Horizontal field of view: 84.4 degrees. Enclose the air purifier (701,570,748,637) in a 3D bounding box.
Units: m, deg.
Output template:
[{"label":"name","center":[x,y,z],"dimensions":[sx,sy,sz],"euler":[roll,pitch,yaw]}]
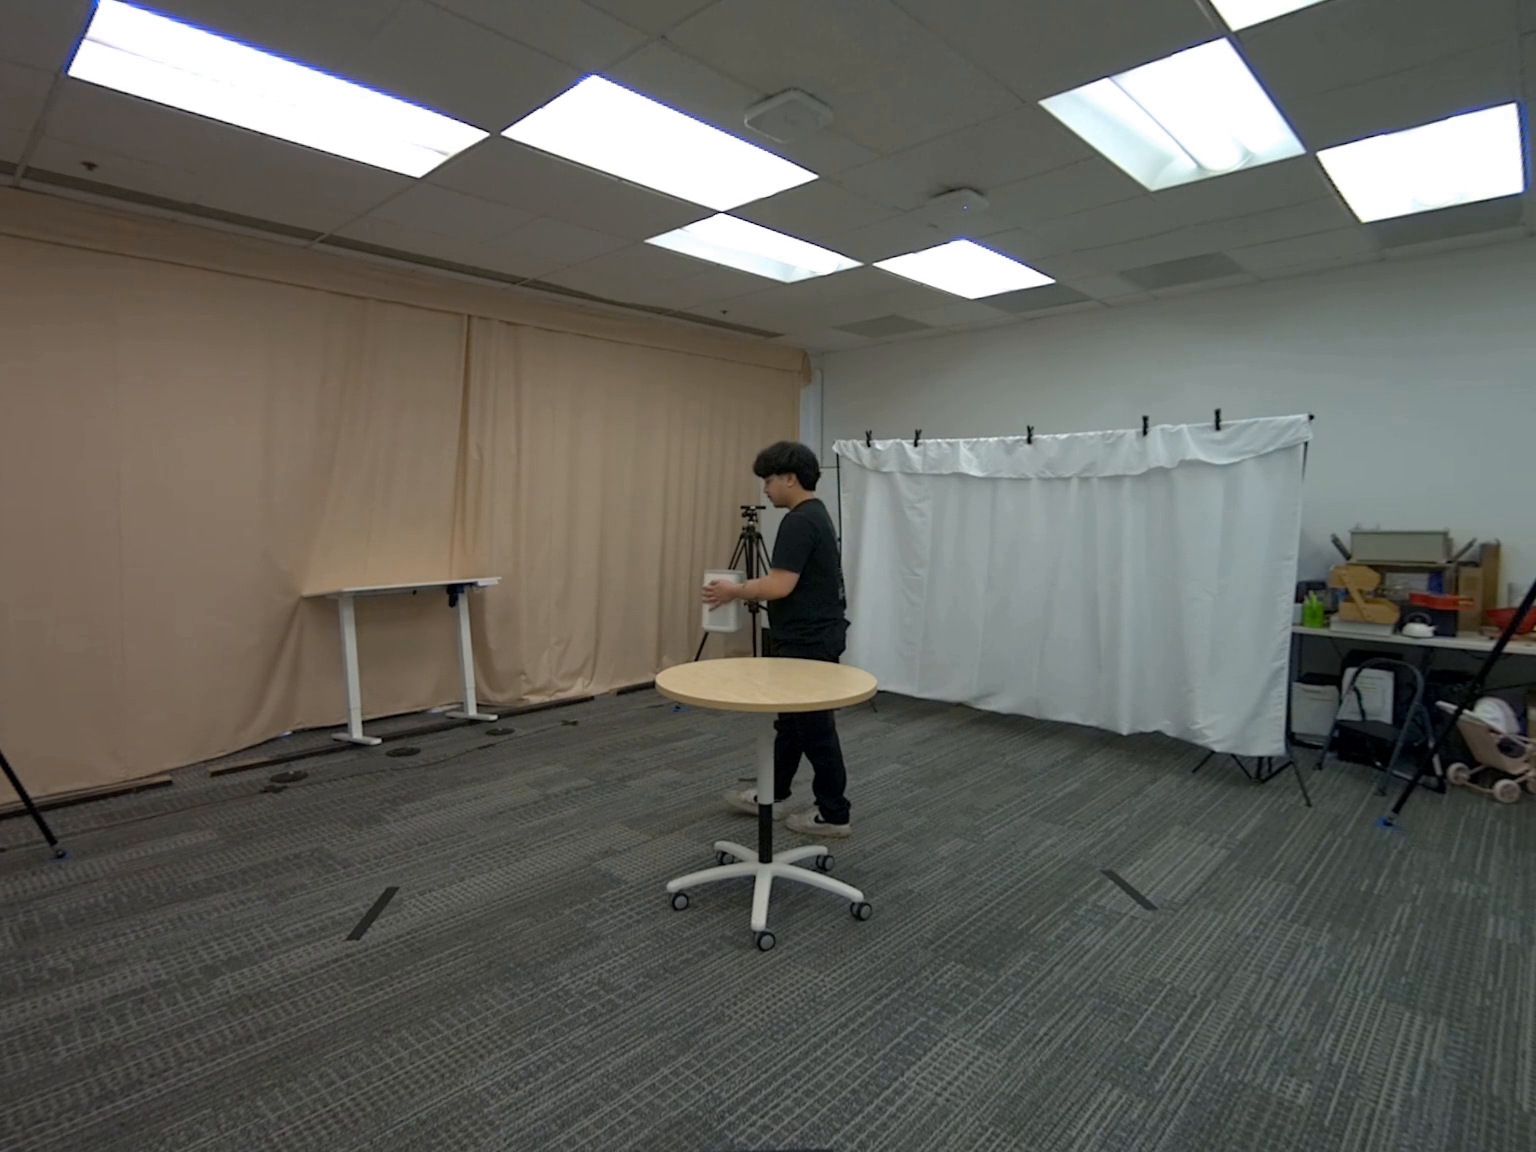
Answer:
[{"label":"air purifier","center":[-0.189,0.114,3.671],"dimensions":[0.173,0.265,0.170],"euler":[2,2,7]}]
